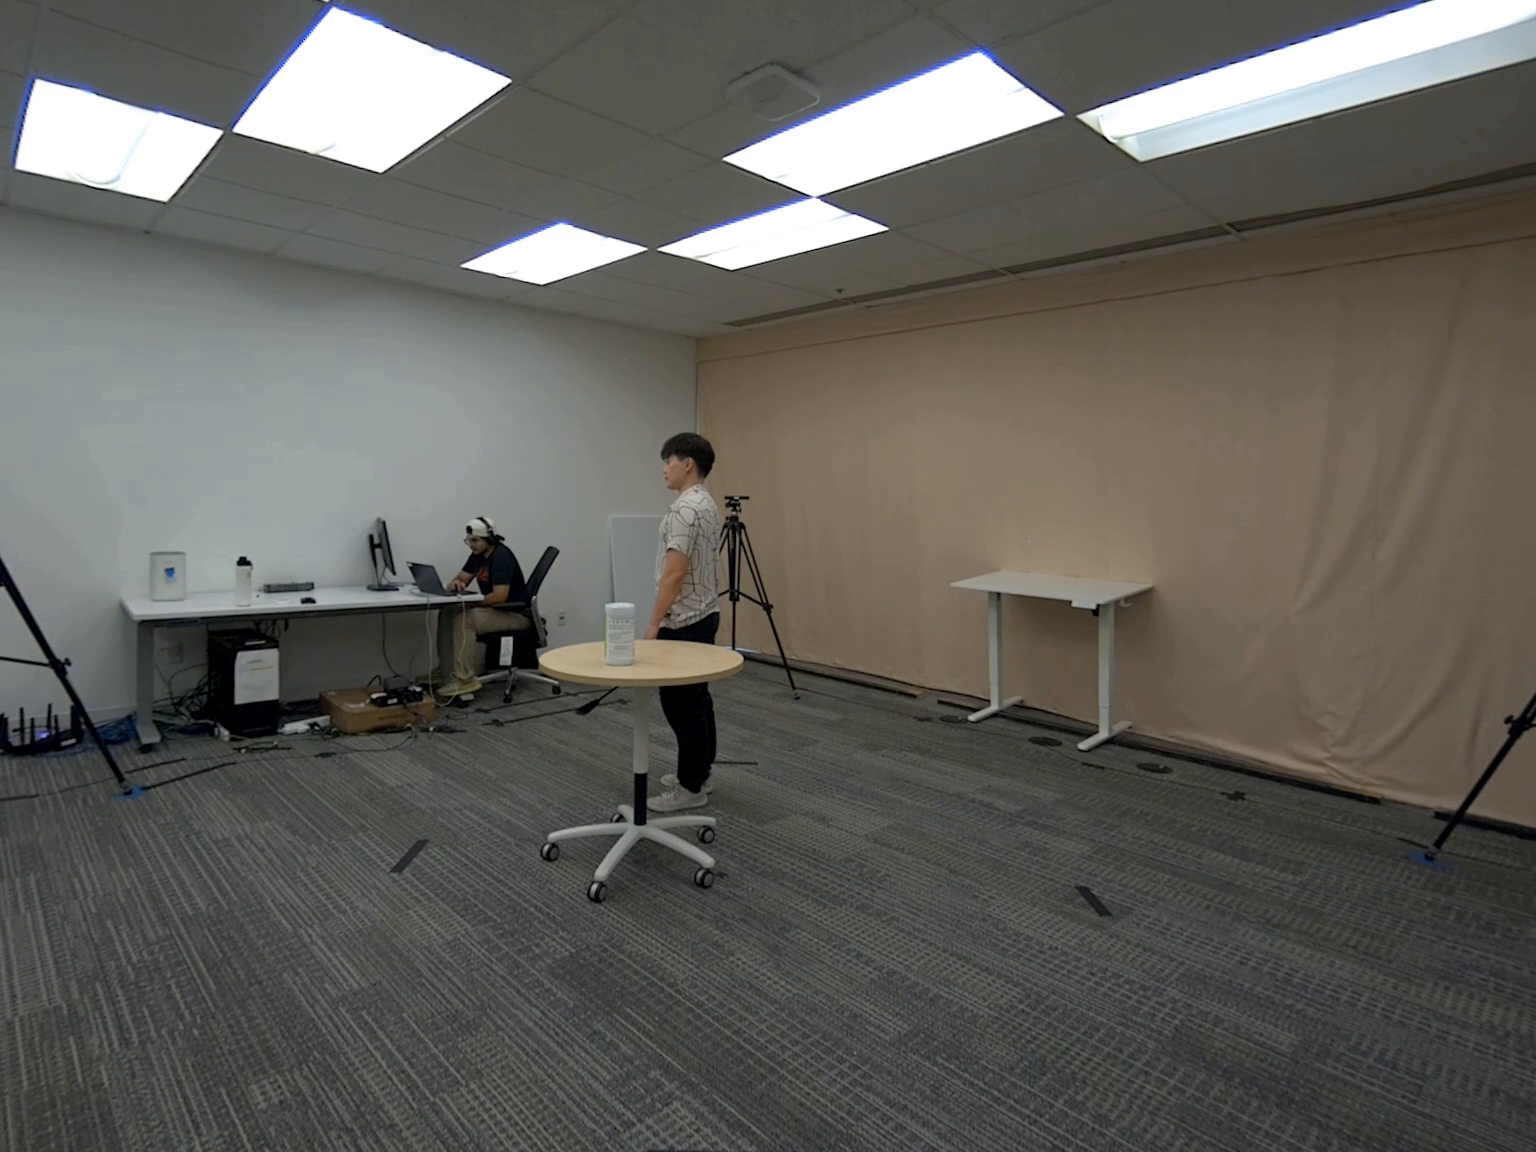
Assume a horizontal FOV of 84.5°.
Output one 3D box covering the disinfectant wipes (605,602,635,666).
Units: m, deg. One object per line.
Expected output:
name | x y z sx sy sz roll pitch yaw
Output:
disinfectant wipes | -0.554 0.213 3.057 0.118 0.217 0.118 2 4 -2
